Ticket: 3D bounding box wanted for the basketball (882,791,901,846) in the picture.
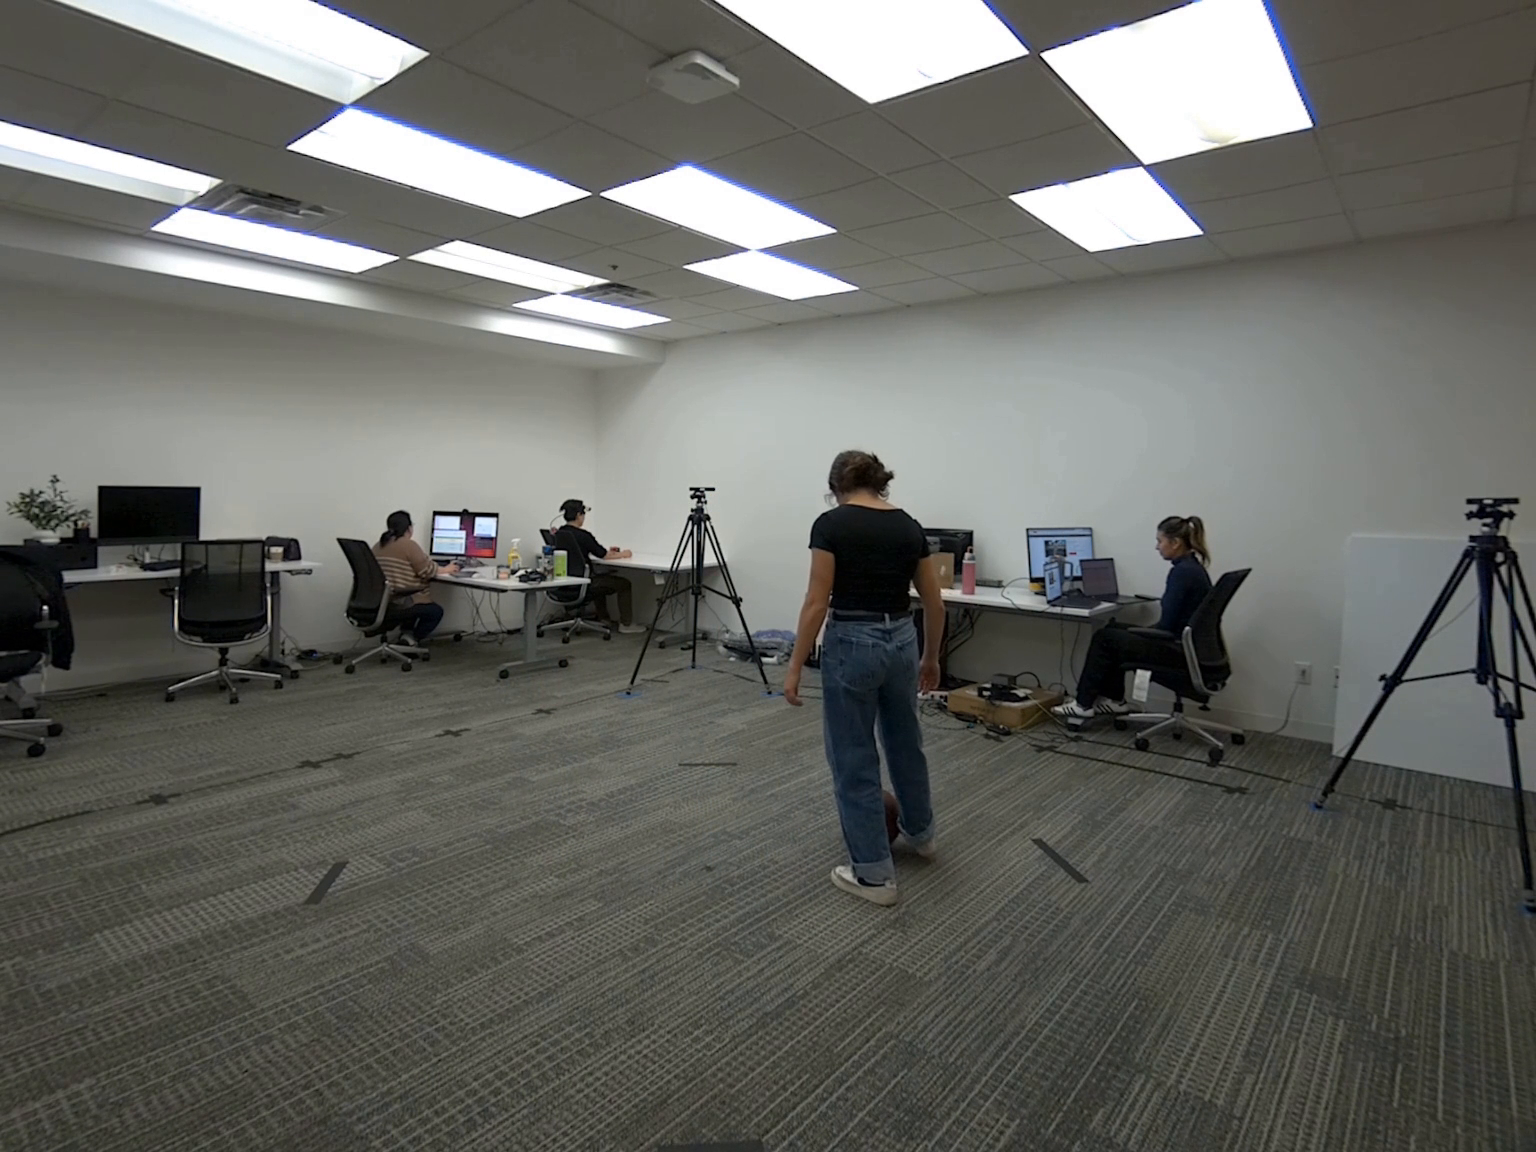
[{"bbox_3d":[0.381,0.931,3.313,0.235,0.235,0.237,1,4,-2],"label":"basketball"}]
